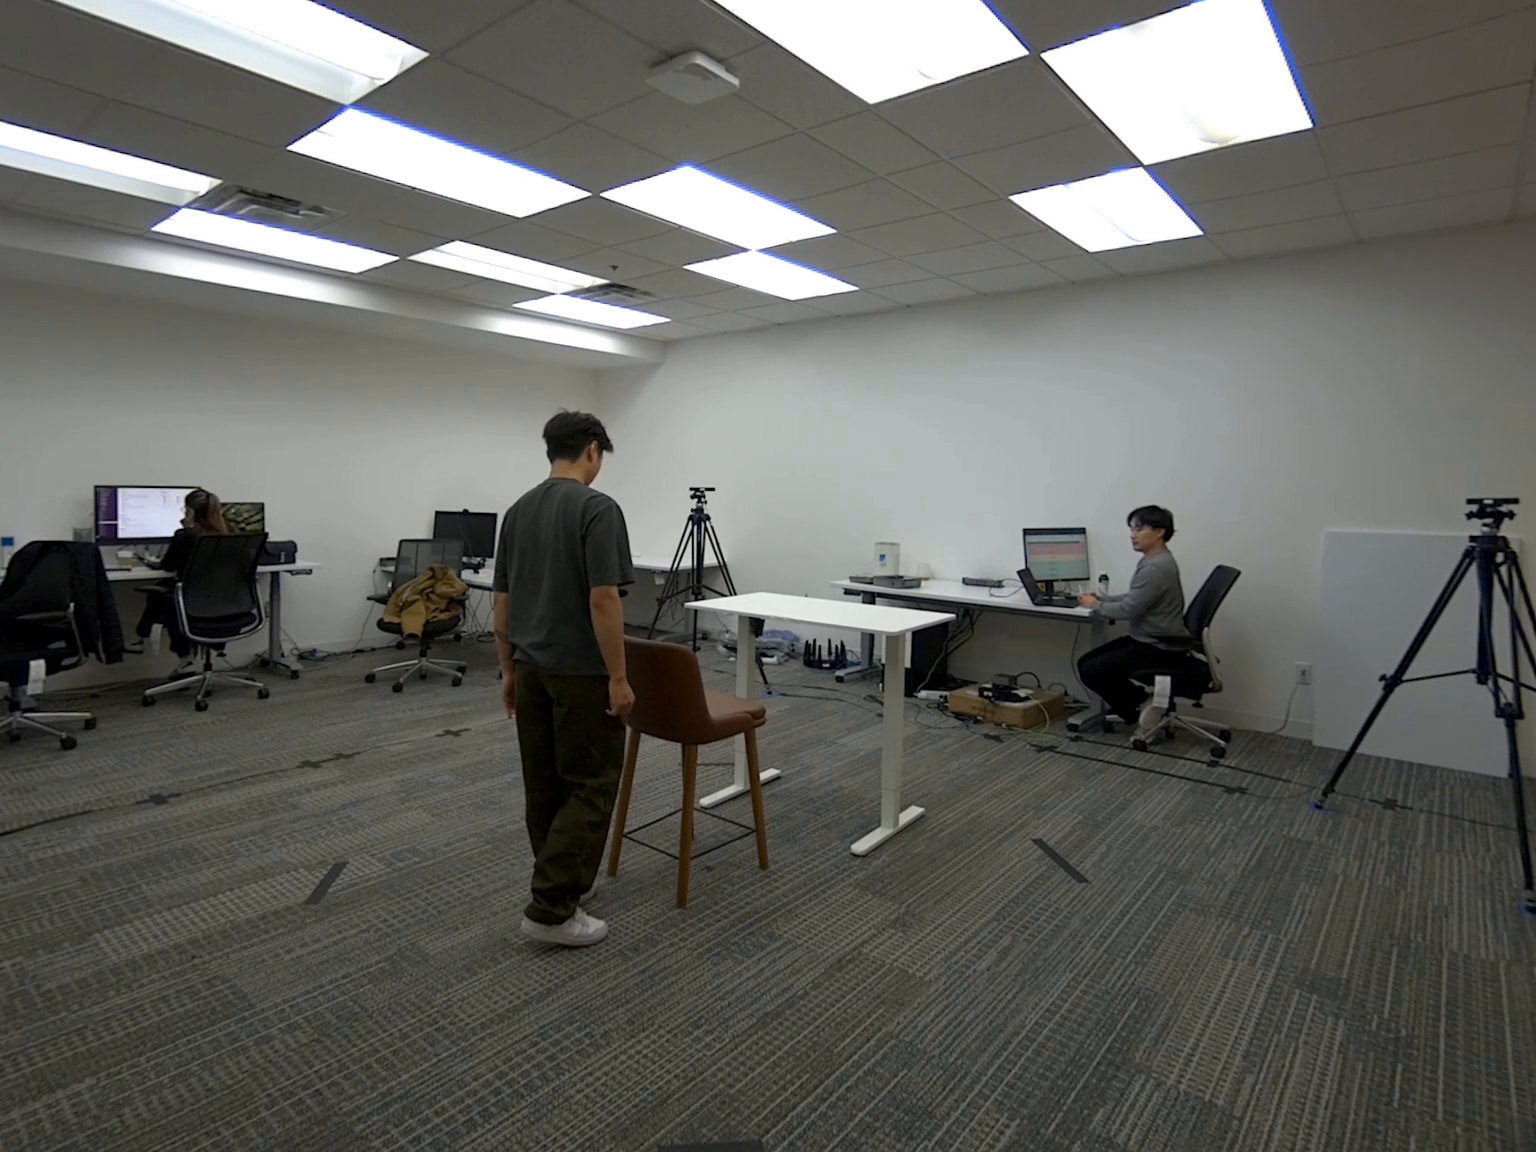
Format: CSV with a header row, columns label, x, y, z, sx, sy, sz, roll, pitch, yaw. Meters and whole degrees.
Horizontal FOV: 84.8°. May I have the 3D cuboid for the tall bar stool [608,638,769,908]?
label,x,y,z,sx,sy,sz,roll,pitch,yaw
tall bar stool,-0.304,0.632,3.059,0.472,0.886,0.454,4,6,40
